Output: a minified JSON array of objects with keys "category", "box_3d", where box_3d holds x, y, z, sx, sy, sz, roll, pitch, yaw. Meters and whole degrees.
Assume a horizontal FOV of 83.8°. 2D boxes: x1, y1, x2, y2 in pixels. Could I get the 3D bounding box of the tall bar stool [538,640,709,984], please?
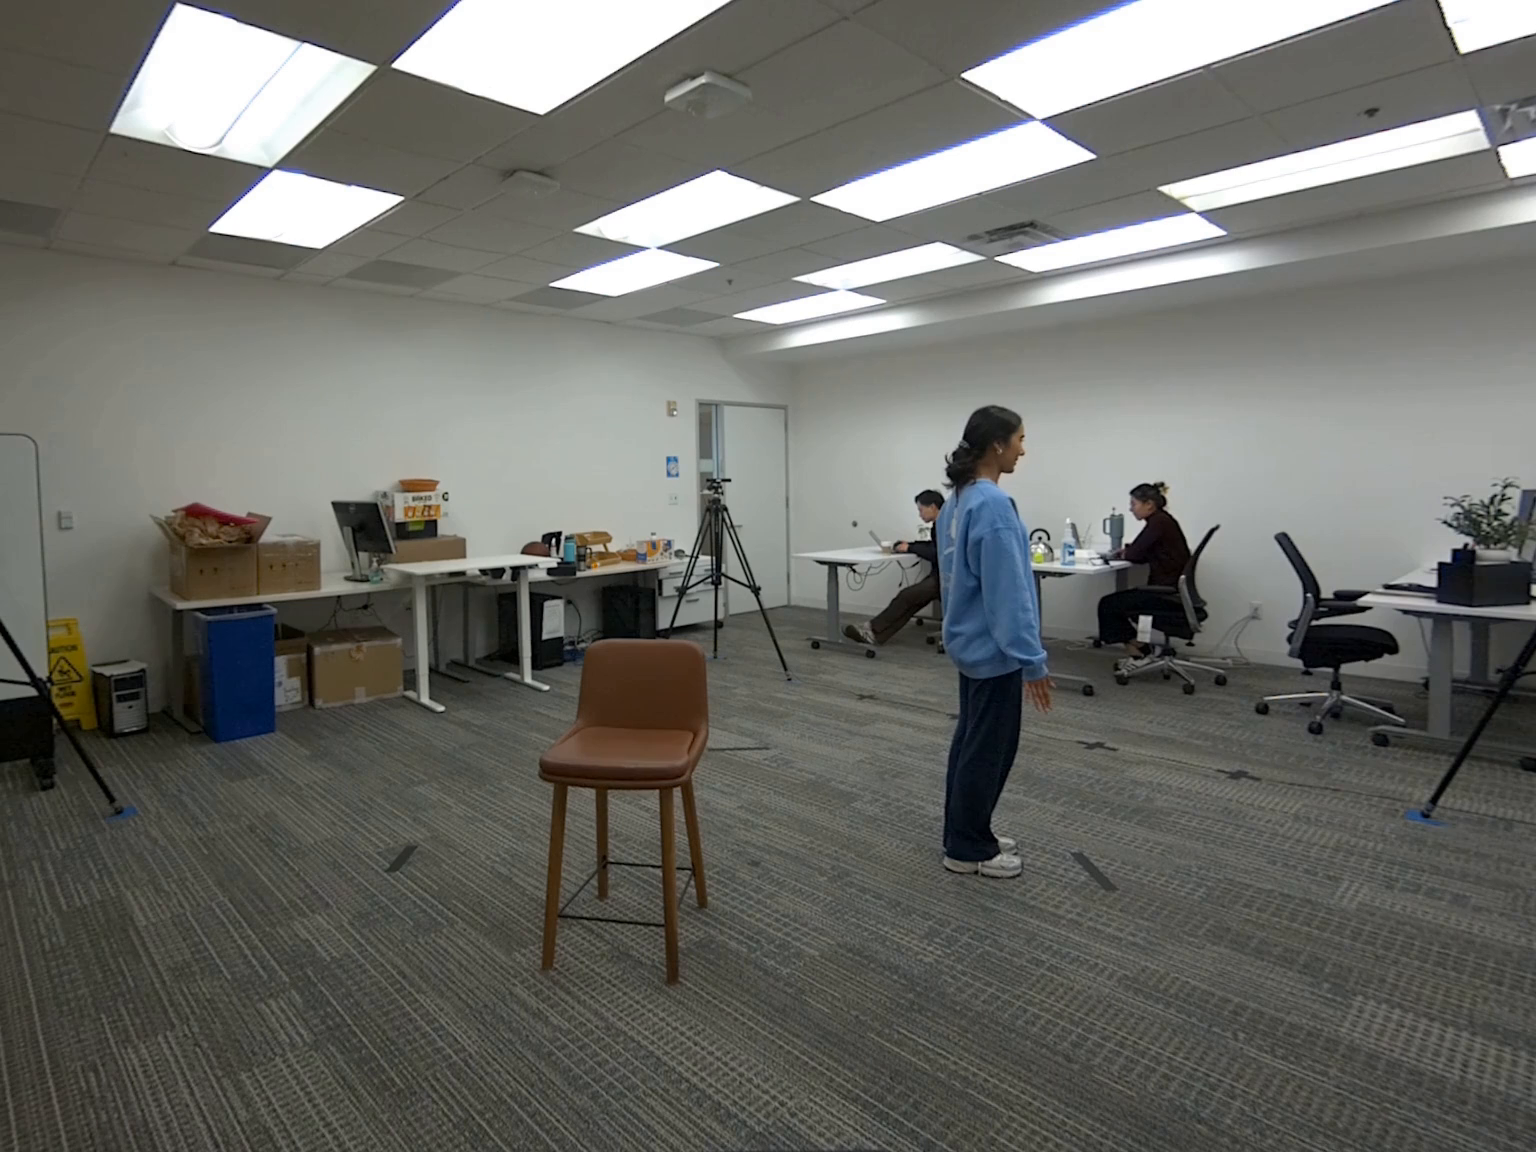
[{"category":"tall bar stool","box_3d":[-0.422,0.678,2.605,0.462,0.887,0.463,0,3,11]}]
